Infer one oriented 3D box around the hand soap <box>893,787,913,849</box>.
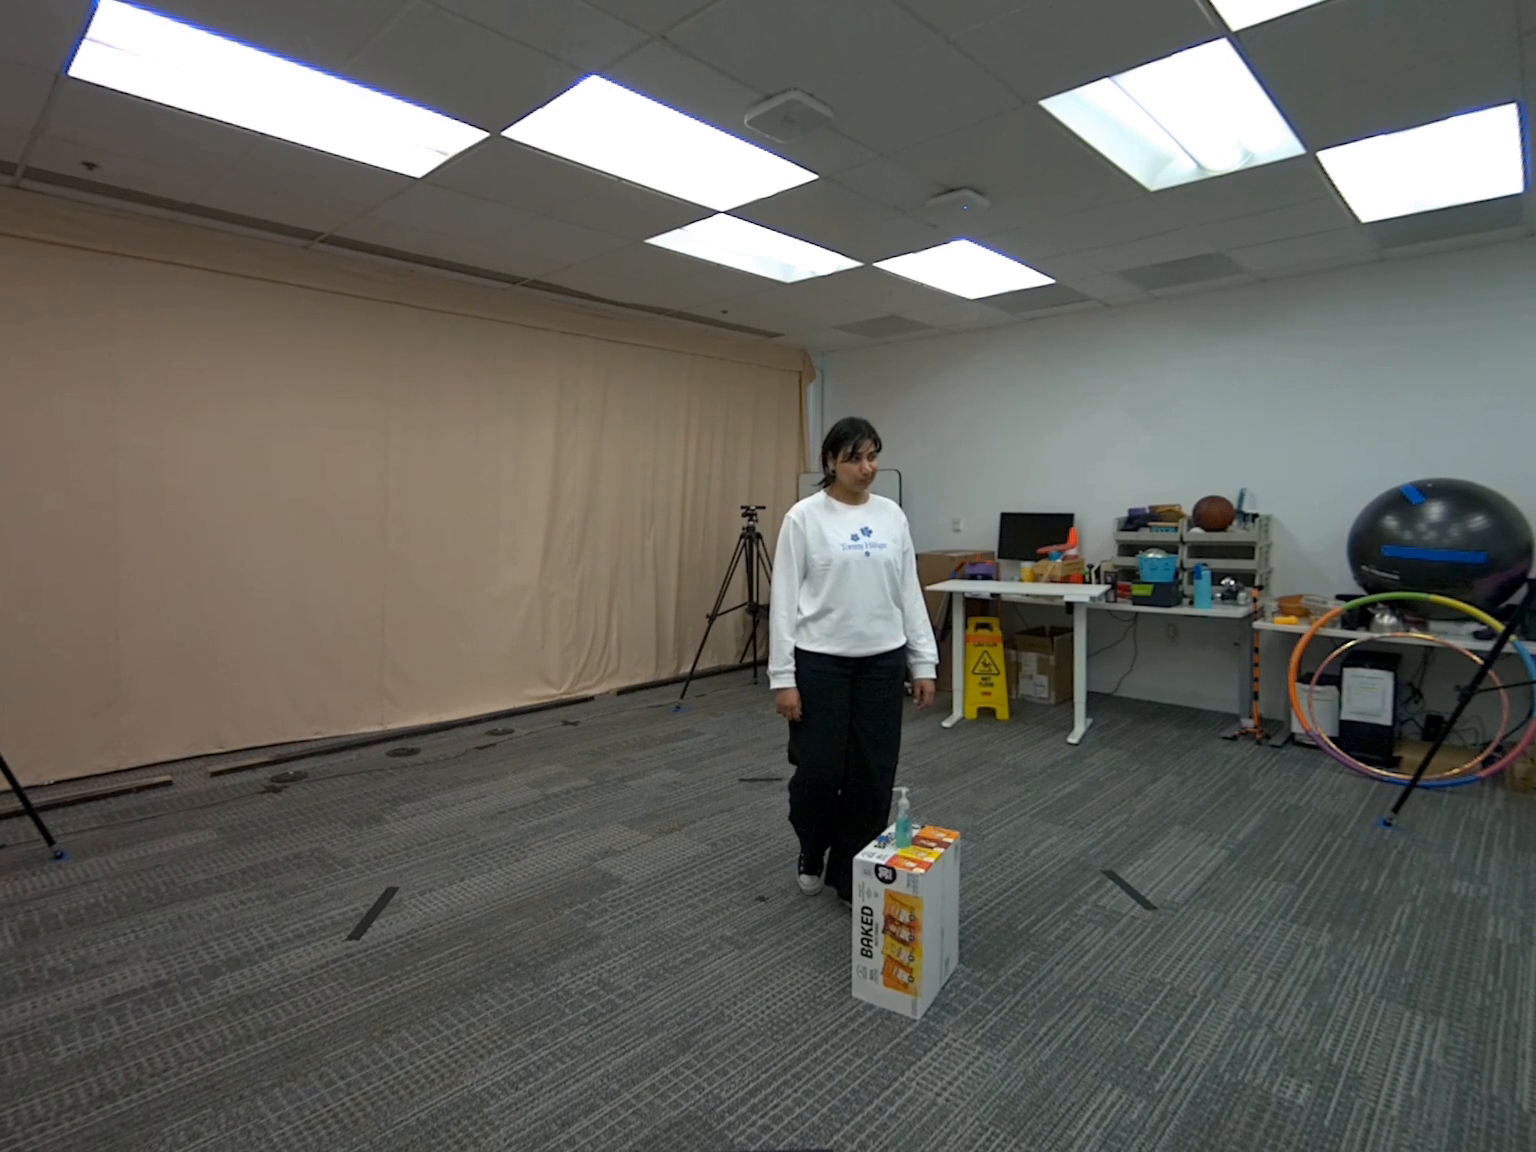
[{"bbox_3d":[0.394,0.698,2.455,0.044,0.168,0.082,5,2,26],"label":"hand soap"}]
